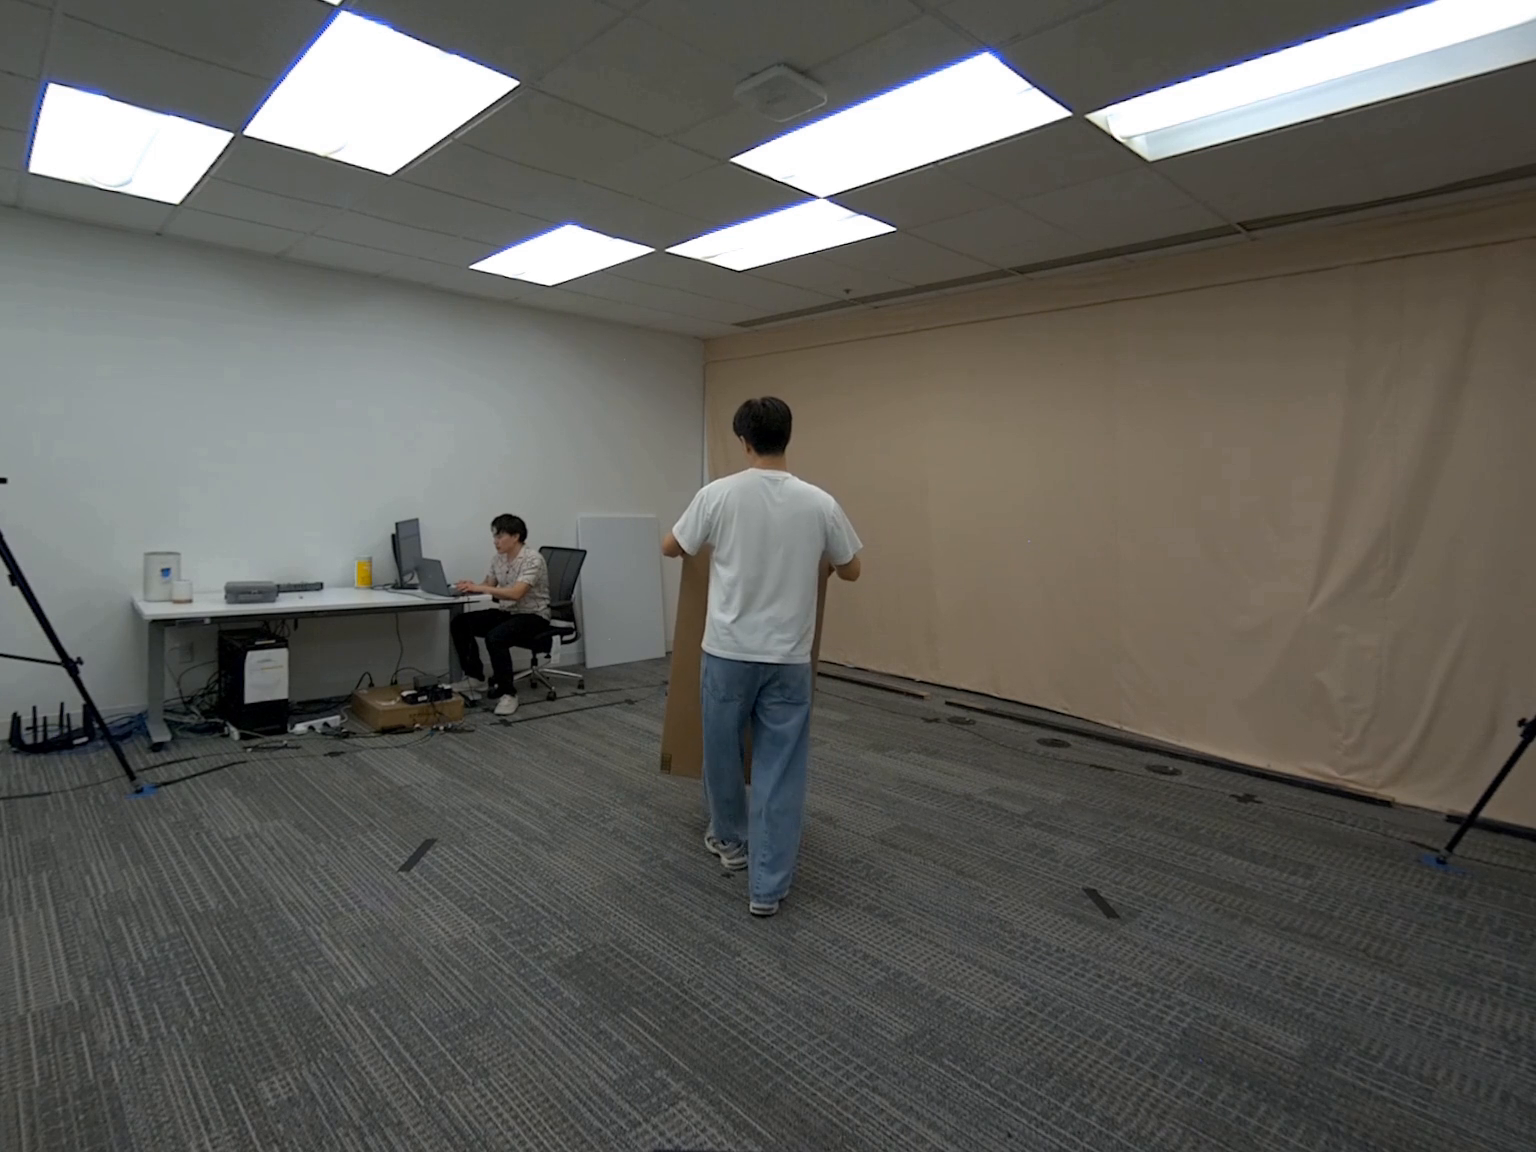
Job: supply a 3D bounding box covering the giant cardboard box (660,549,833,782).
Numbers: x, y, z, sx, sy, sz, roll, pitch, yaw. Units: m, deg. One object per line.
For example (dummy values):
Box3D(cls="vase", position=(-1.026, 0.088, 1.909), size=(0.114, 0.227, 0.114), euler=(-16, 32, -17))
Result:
Box3D(cls="giant cardboard box", position=(-0.092, 0.305, 3.497), size=(0.579, 1.023, 0.426), euler=(7, 4, 2))
